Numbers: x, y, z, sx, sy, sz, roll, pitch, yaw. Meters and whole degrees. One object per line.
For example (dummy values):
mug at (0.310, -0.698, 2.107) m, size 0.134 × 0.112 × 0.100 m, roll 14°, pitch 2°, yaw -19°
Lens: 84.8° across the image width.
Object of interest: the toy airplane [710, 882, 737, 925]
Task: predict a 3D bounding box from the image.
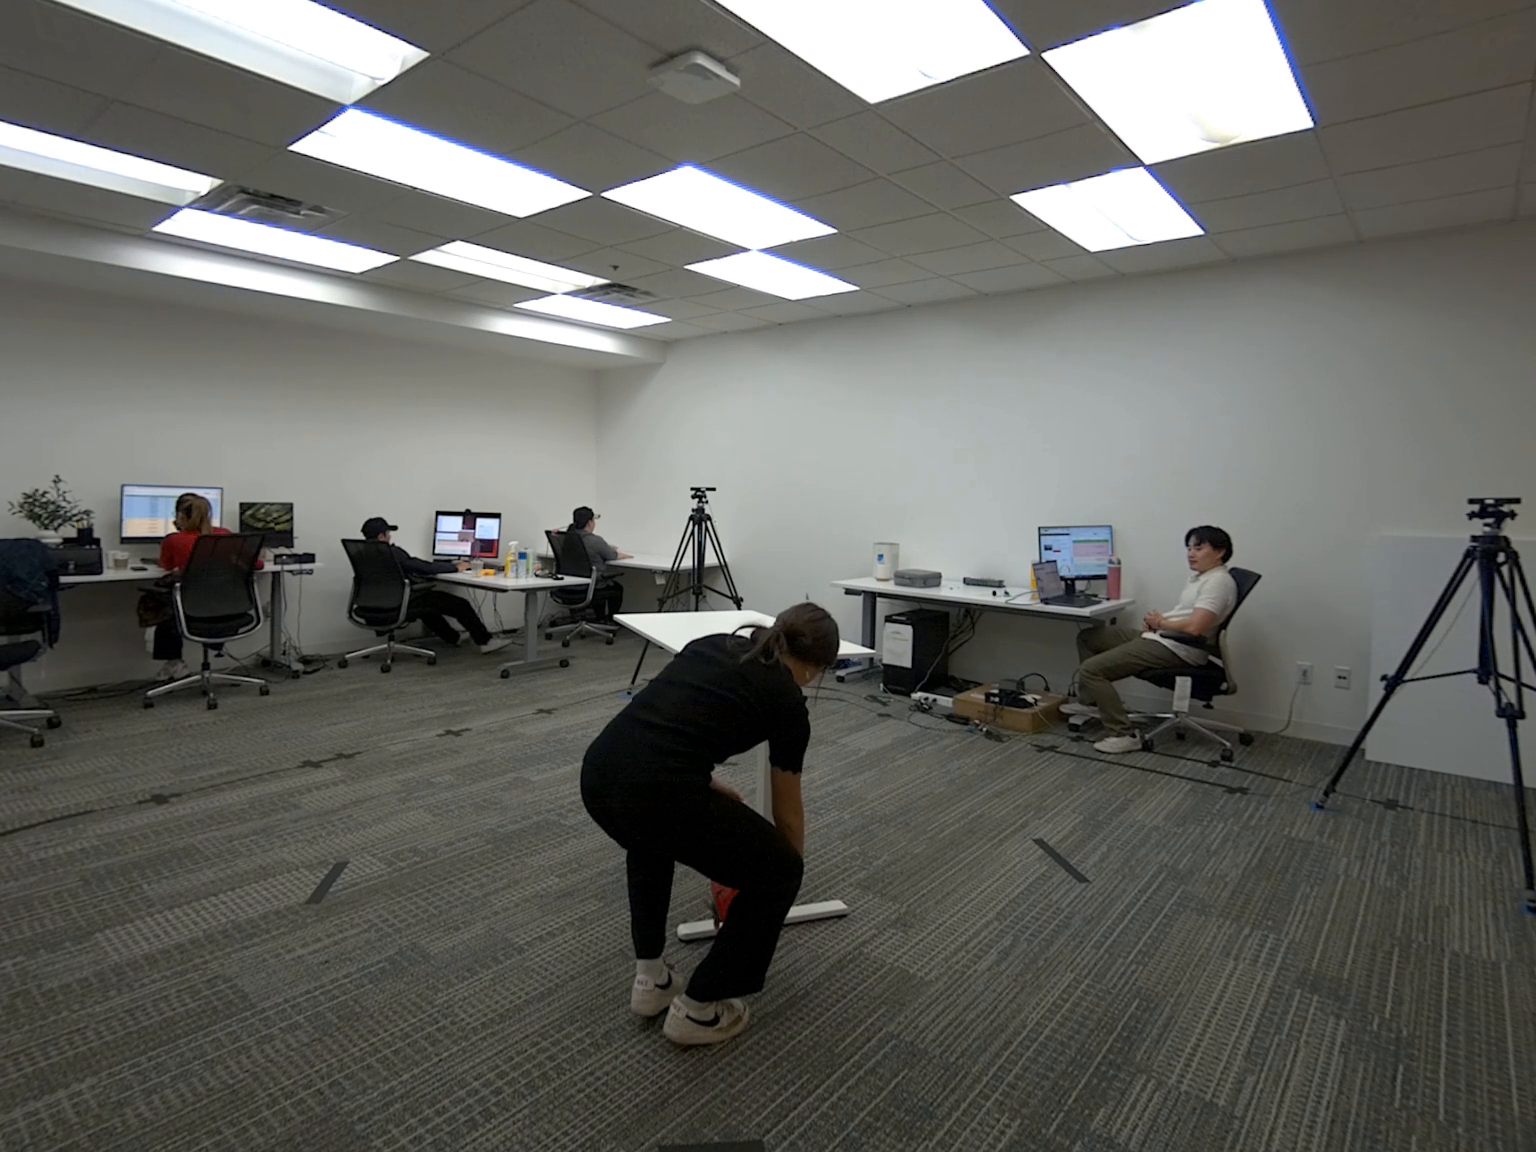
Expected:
toy airplane at (-0.066, 0.883, 2.425) m, size 0.152 × 0.262 × 0.255 m, roll 30°, pitch -23°, yaw -22°
